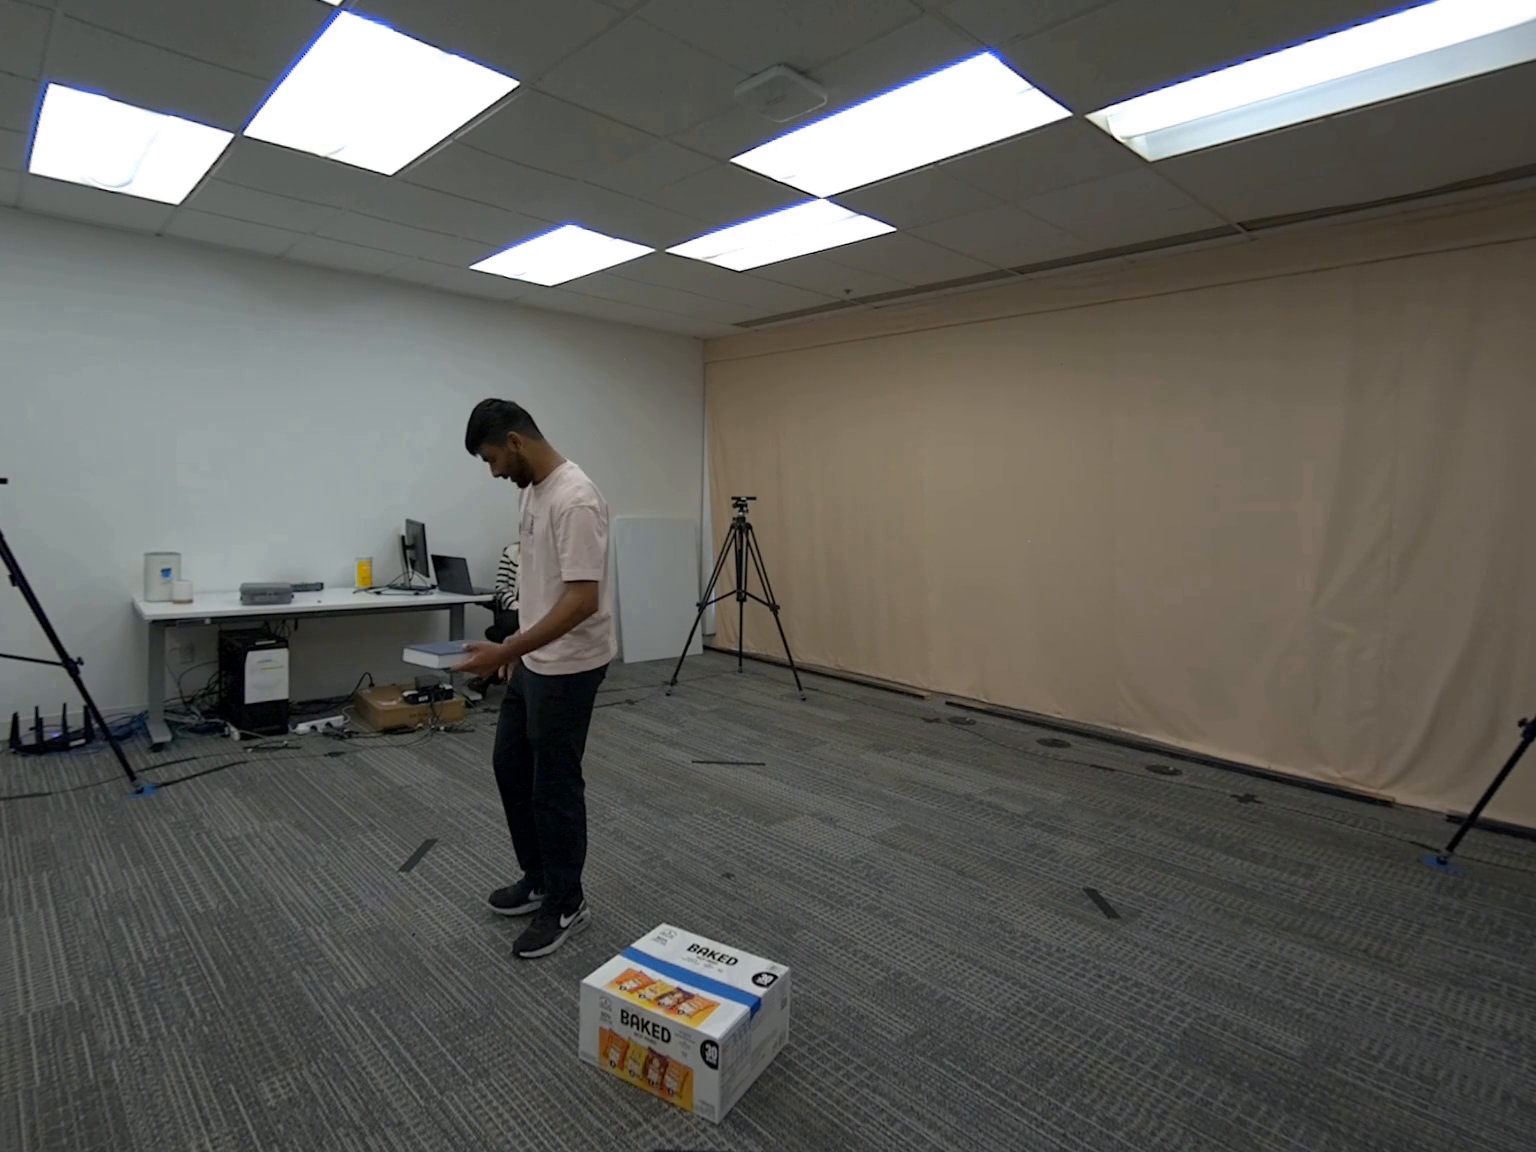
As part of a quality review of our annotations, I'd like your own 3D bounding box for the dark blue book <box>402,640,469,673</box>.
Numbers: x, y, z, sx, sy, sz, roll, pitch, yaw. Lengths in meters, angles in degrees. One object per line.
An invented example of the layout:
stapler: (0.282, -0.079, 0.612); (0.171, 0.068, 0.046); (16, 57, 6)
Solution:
dark blue book: (-0.898, 0.221, 2.412); (0.167, 0.045, 0.240); (5, 4, 34)
